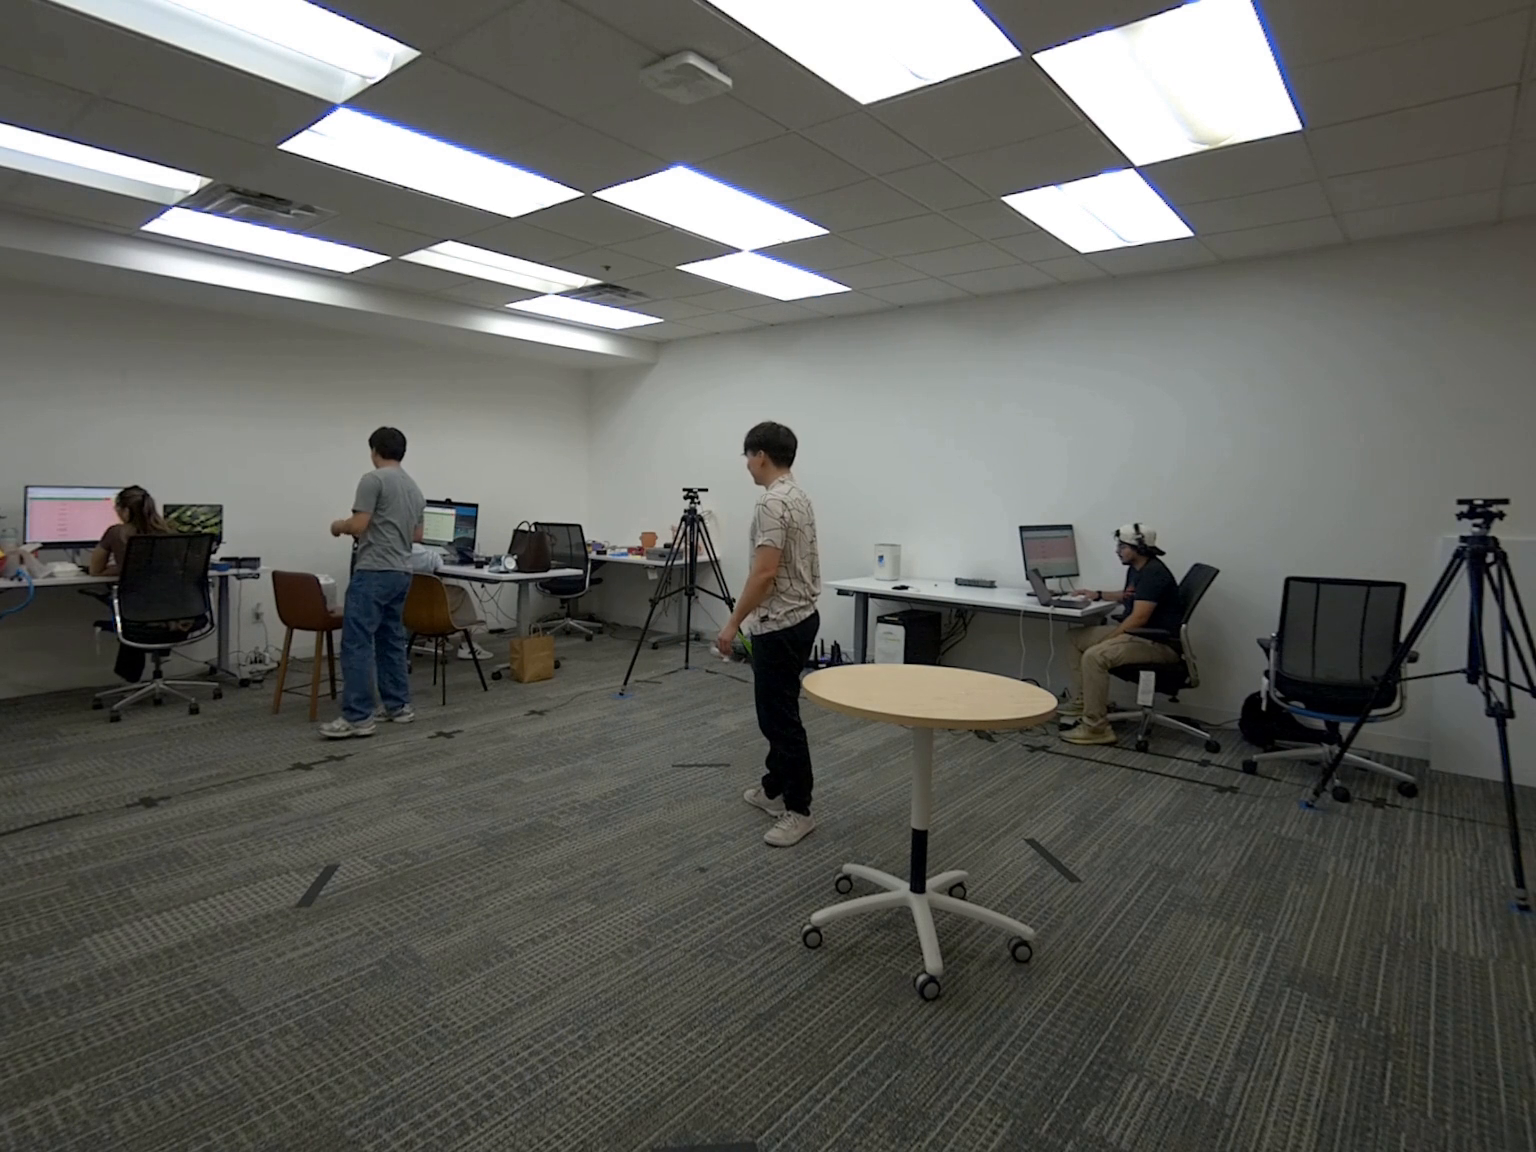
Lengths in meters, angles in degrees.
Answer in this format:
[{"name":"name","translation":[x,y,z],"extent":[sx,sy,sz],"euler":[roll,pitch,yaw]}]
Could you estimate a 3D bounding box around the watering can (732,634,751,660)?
[{"name":"watering can","translation":[-0.055,0.288,3.878],"extent":[0.279,0.176,0.098],"euler":[-2,4,4]}]
